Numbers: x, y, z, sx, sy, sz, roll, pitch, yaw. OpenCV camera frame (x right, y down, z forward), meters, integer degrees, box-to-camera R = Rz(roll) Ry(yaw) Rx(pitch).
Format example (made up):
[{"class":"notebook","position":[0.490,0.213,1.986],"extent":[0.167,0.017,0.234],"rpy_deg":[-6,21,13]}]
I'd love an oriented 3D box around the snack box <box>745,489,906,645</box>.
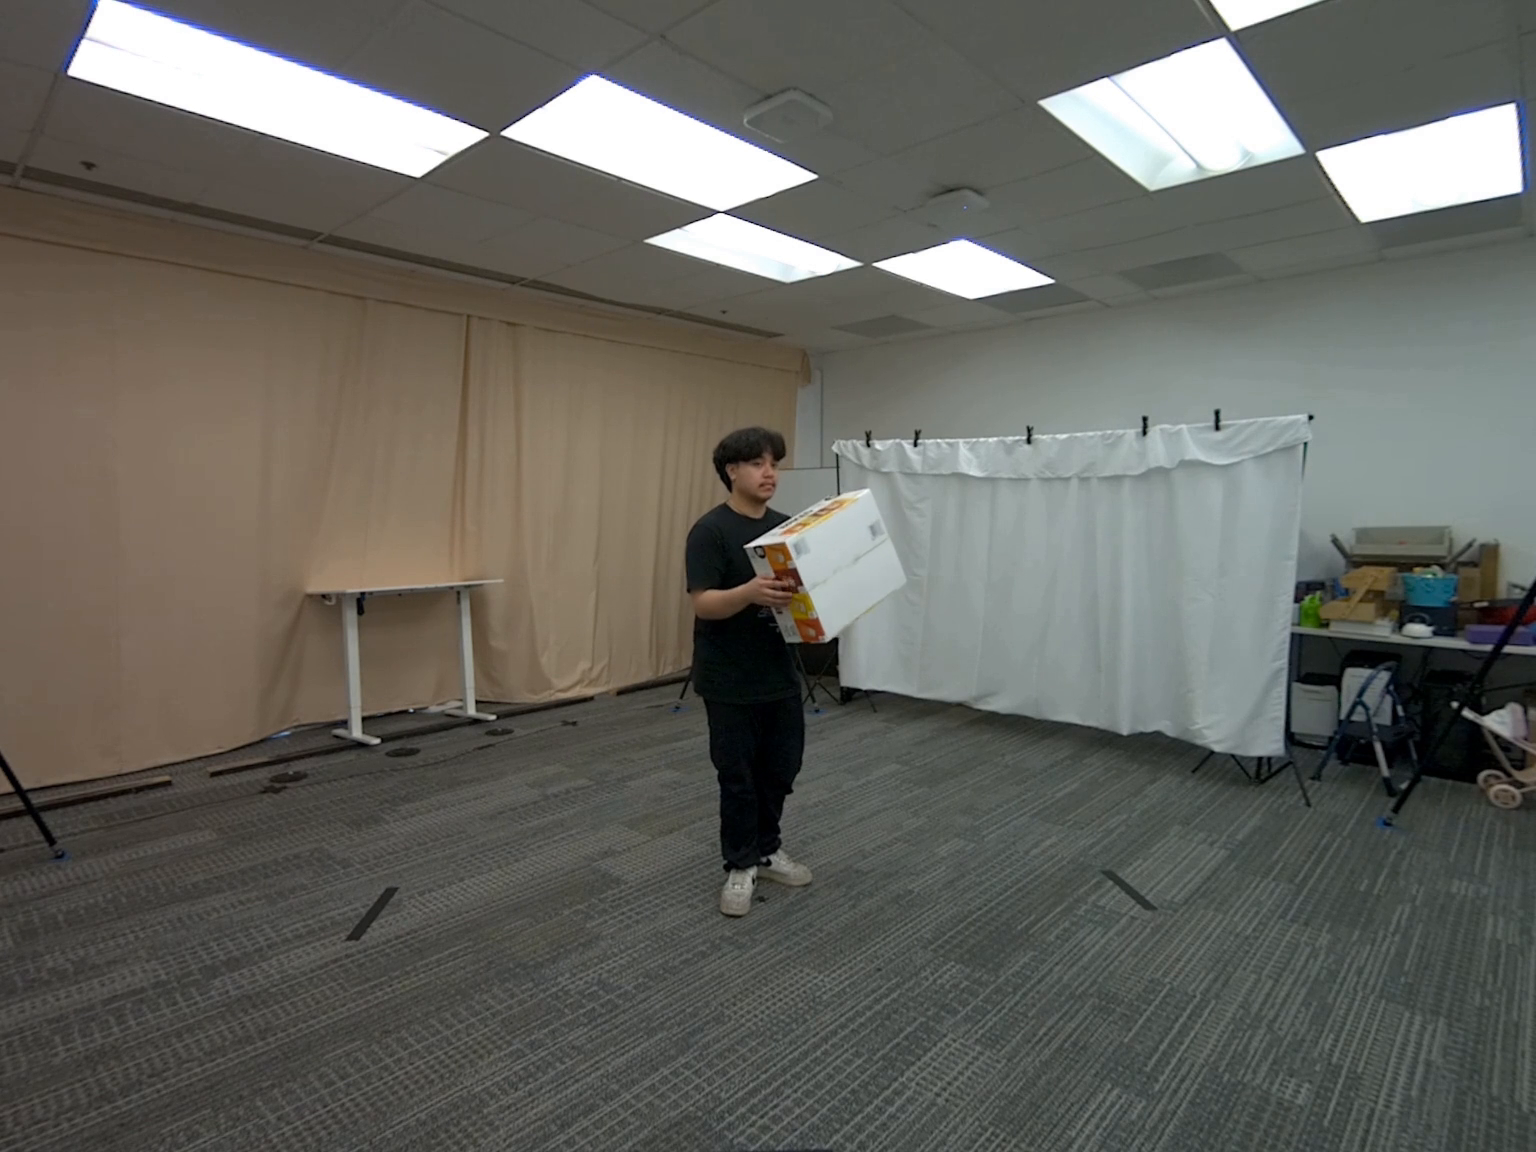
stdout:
[{"class":"snack box","position":[0.197,-0.031,2.683],"extent":[0.398,0.336,0.211],"rpy_deg":[-31,14,-33]}]
